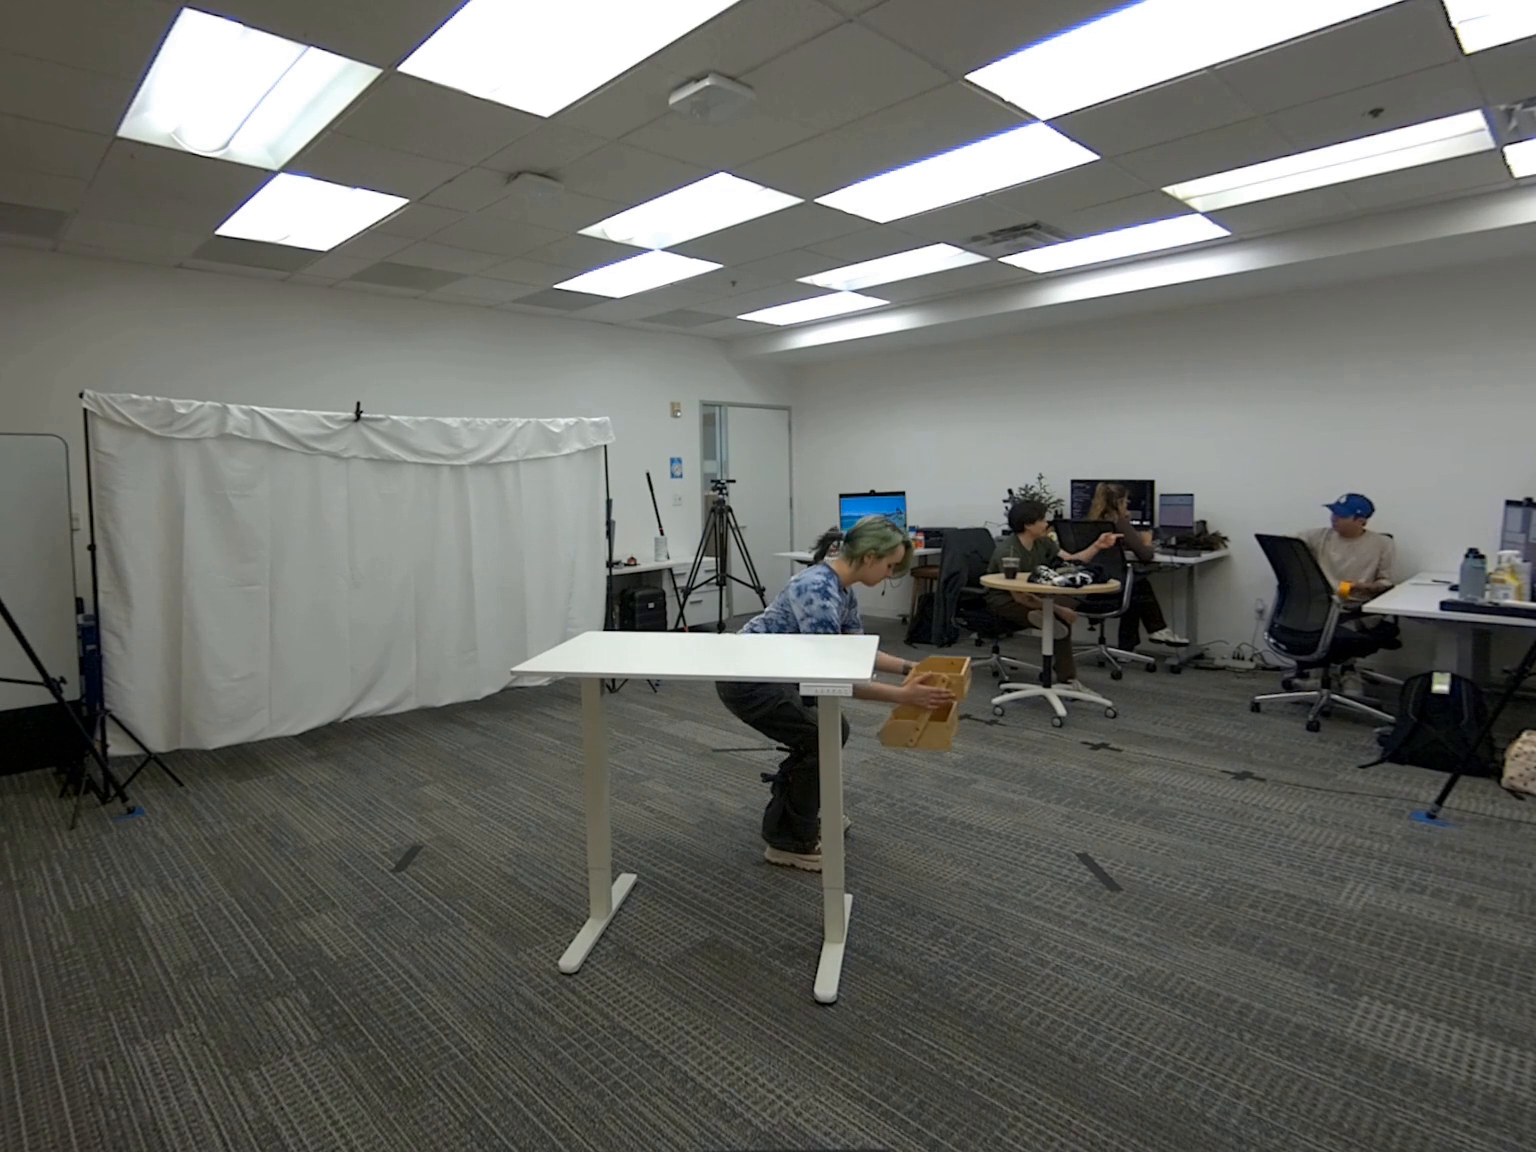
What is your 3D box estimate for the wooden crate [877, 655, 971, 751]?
[{"bbox_3d":[0.552,0.444,3.056,0.307,0.272,0.320,-1,4,19],"label":"wooden crate"}]
